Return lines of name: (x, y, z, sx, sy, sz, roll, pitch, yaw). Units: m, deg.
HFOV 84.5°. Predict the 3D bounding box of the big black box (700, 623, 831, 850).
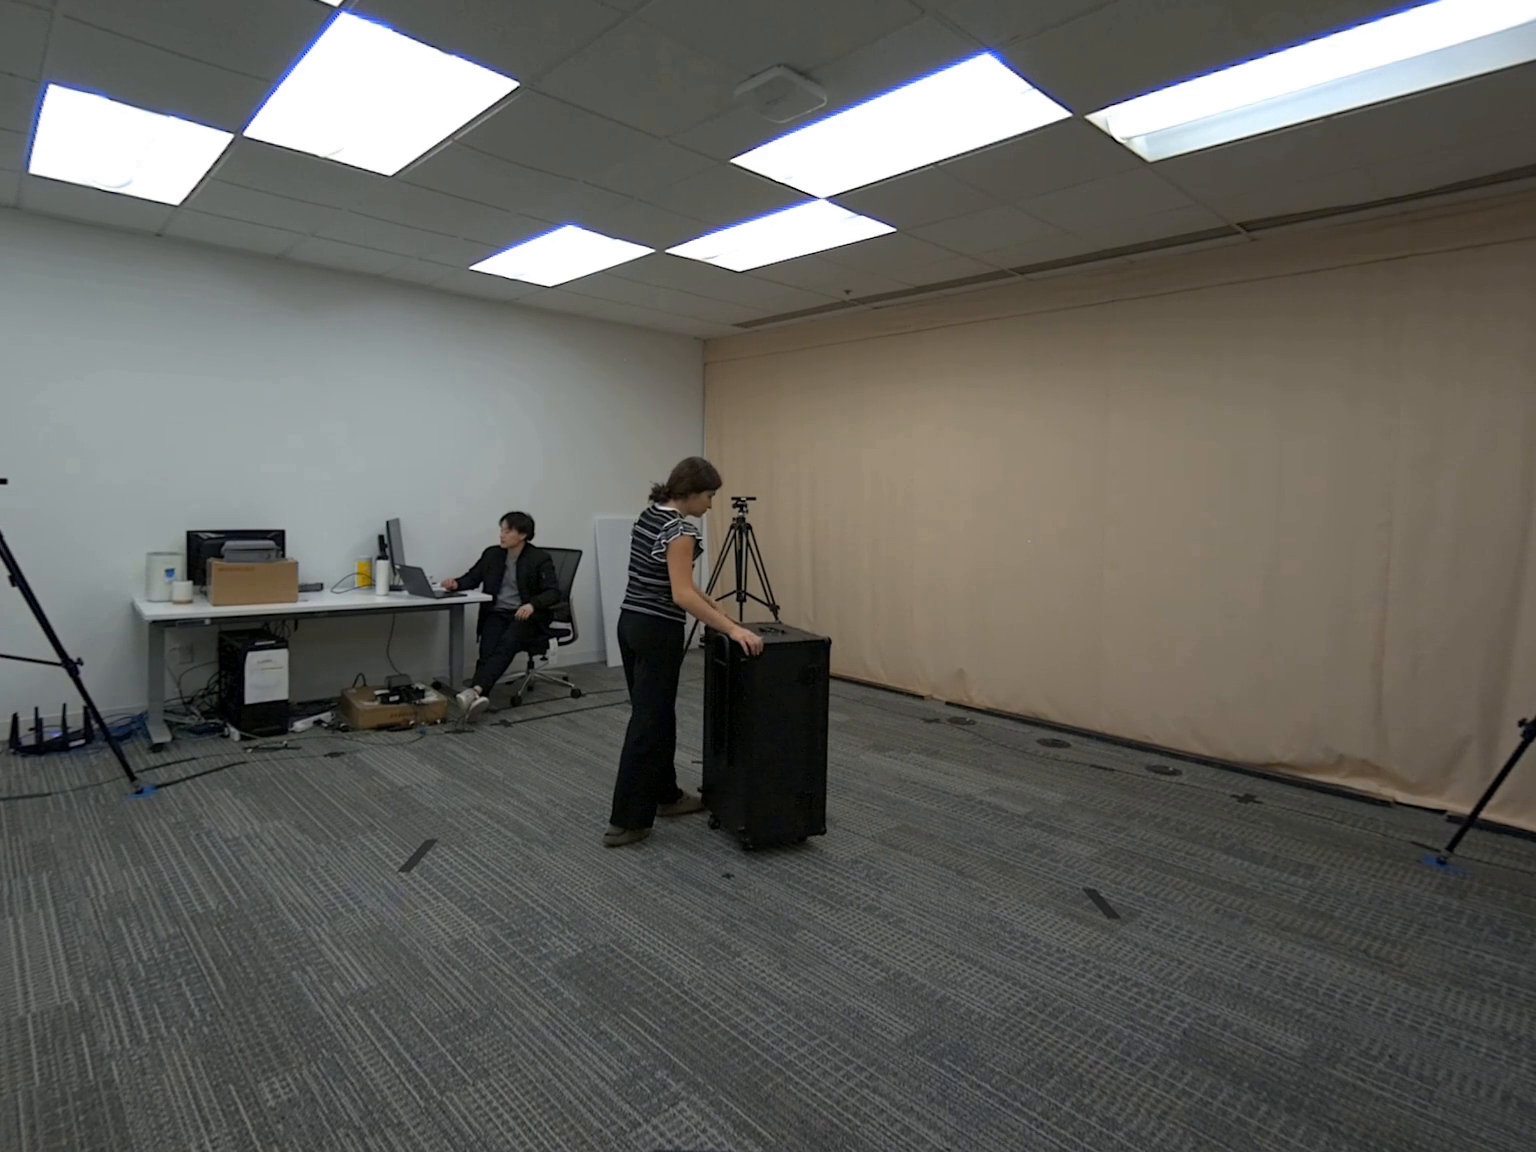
big black box: (-0.035, 0.652, 3.463, 0.390, 0.859, 0.531, -1, 4, -23)
